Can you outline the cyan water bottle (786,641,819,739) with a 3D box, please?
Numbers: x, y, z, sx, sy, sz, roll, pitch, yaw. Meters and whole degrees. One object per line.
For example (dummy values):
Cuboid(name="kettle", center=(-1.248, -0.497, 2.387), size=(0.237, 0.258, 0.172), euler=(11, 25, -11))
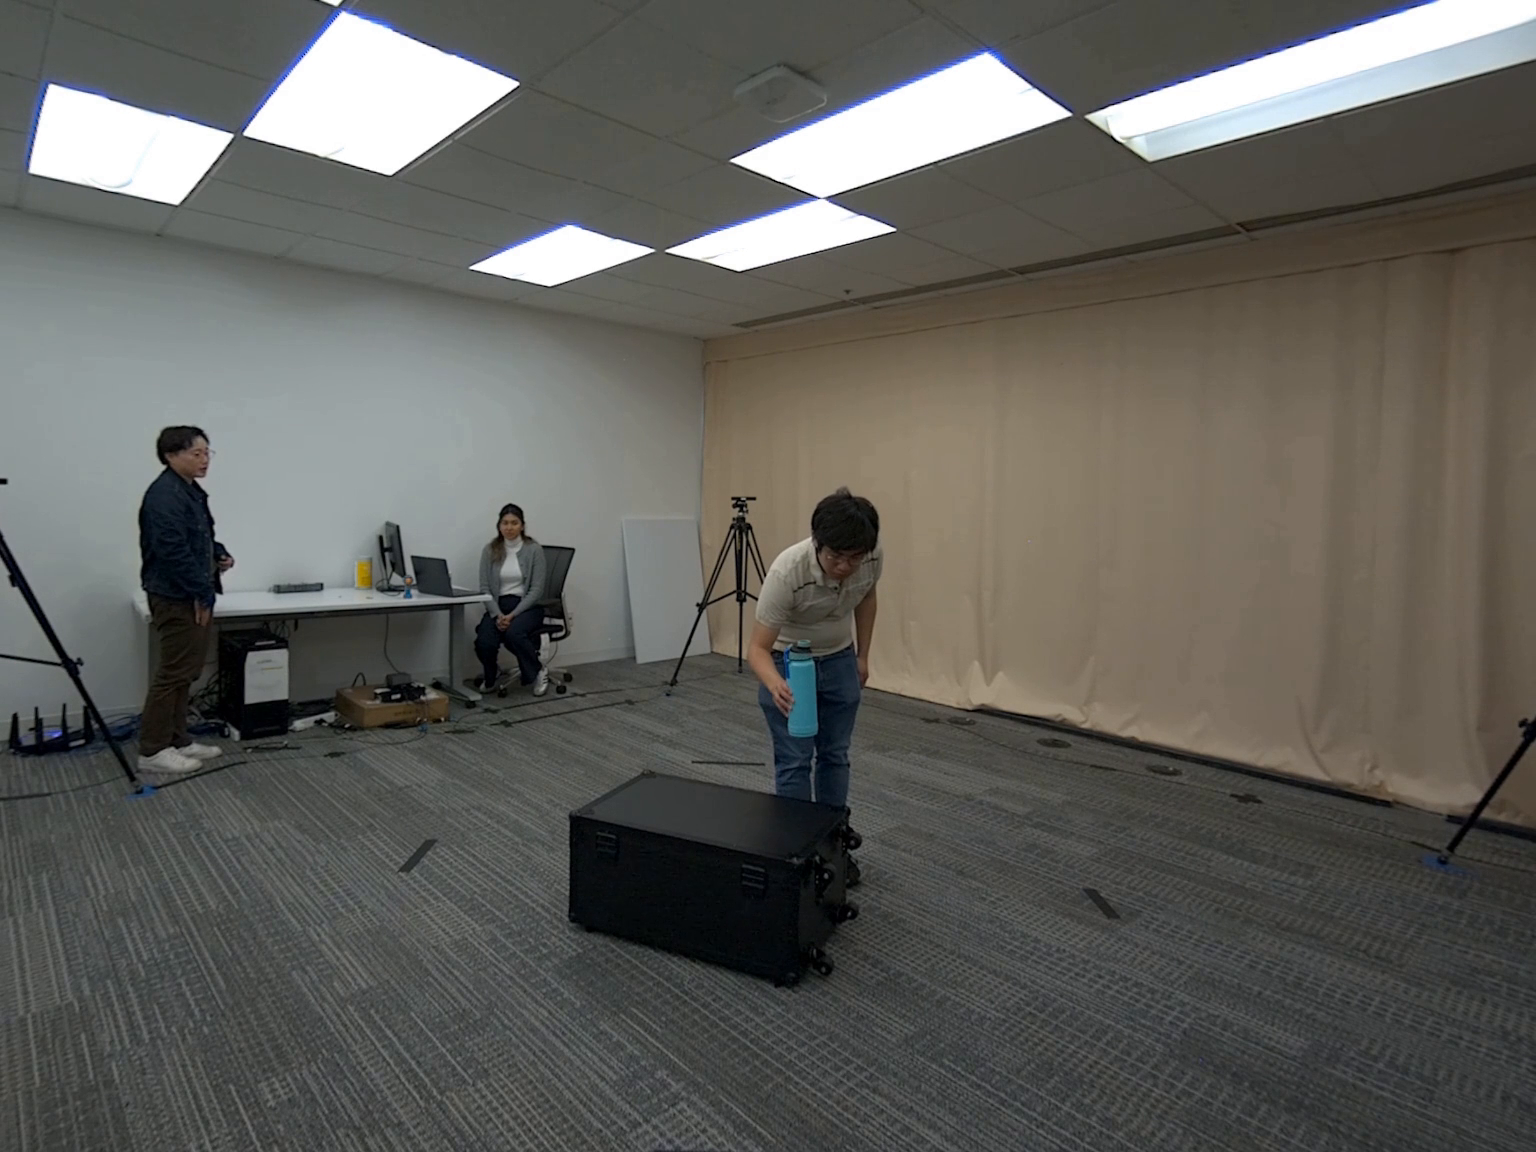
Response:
Cuboid(name="cyan water bottle", center=(0.088, 0.349, 2.565), size=(0.092, 0.283, 0.092), euler=(-5, 3, -1))
